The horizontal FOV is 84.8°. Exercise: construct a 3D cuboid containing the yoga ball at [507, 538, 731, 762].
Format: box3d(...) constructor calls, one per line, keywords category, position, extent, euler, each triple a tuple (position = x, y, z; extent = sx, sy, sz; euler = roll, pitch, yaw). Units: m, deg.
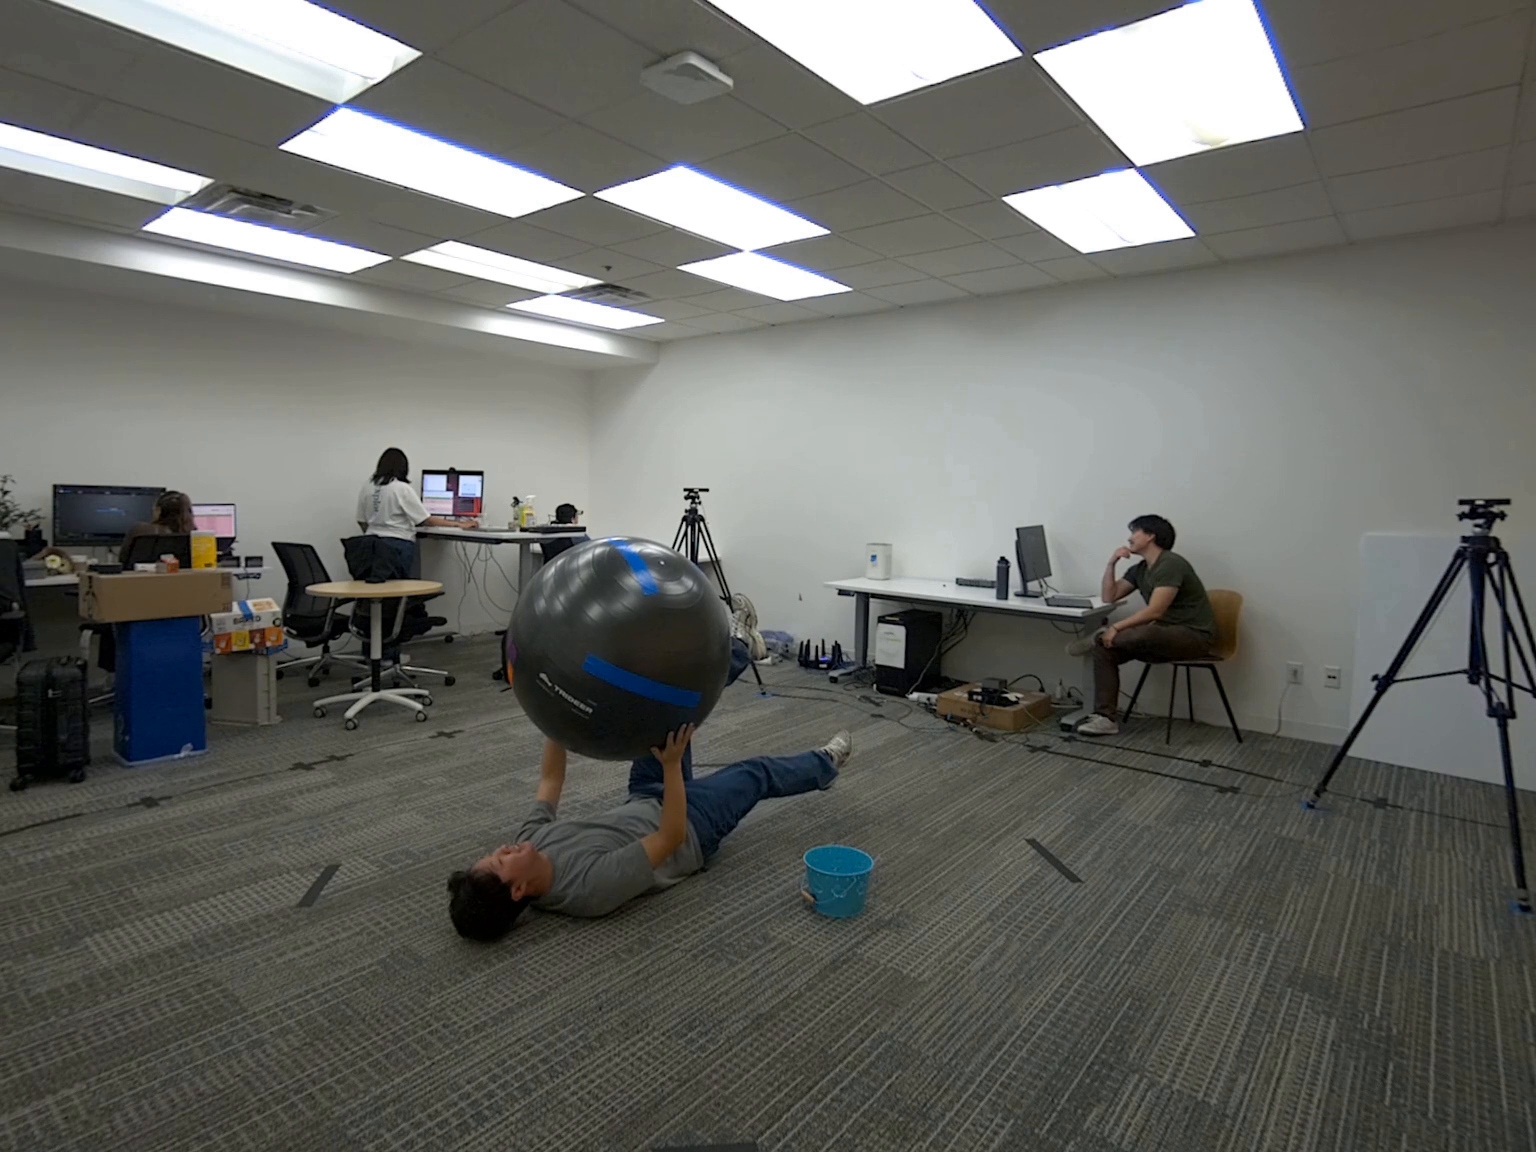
box3d(category="yoga ball", position=(-0.518, 0.248, 2.902), extent=(0.757, 0.756, 0.762), euler=(1, 4, -2))
